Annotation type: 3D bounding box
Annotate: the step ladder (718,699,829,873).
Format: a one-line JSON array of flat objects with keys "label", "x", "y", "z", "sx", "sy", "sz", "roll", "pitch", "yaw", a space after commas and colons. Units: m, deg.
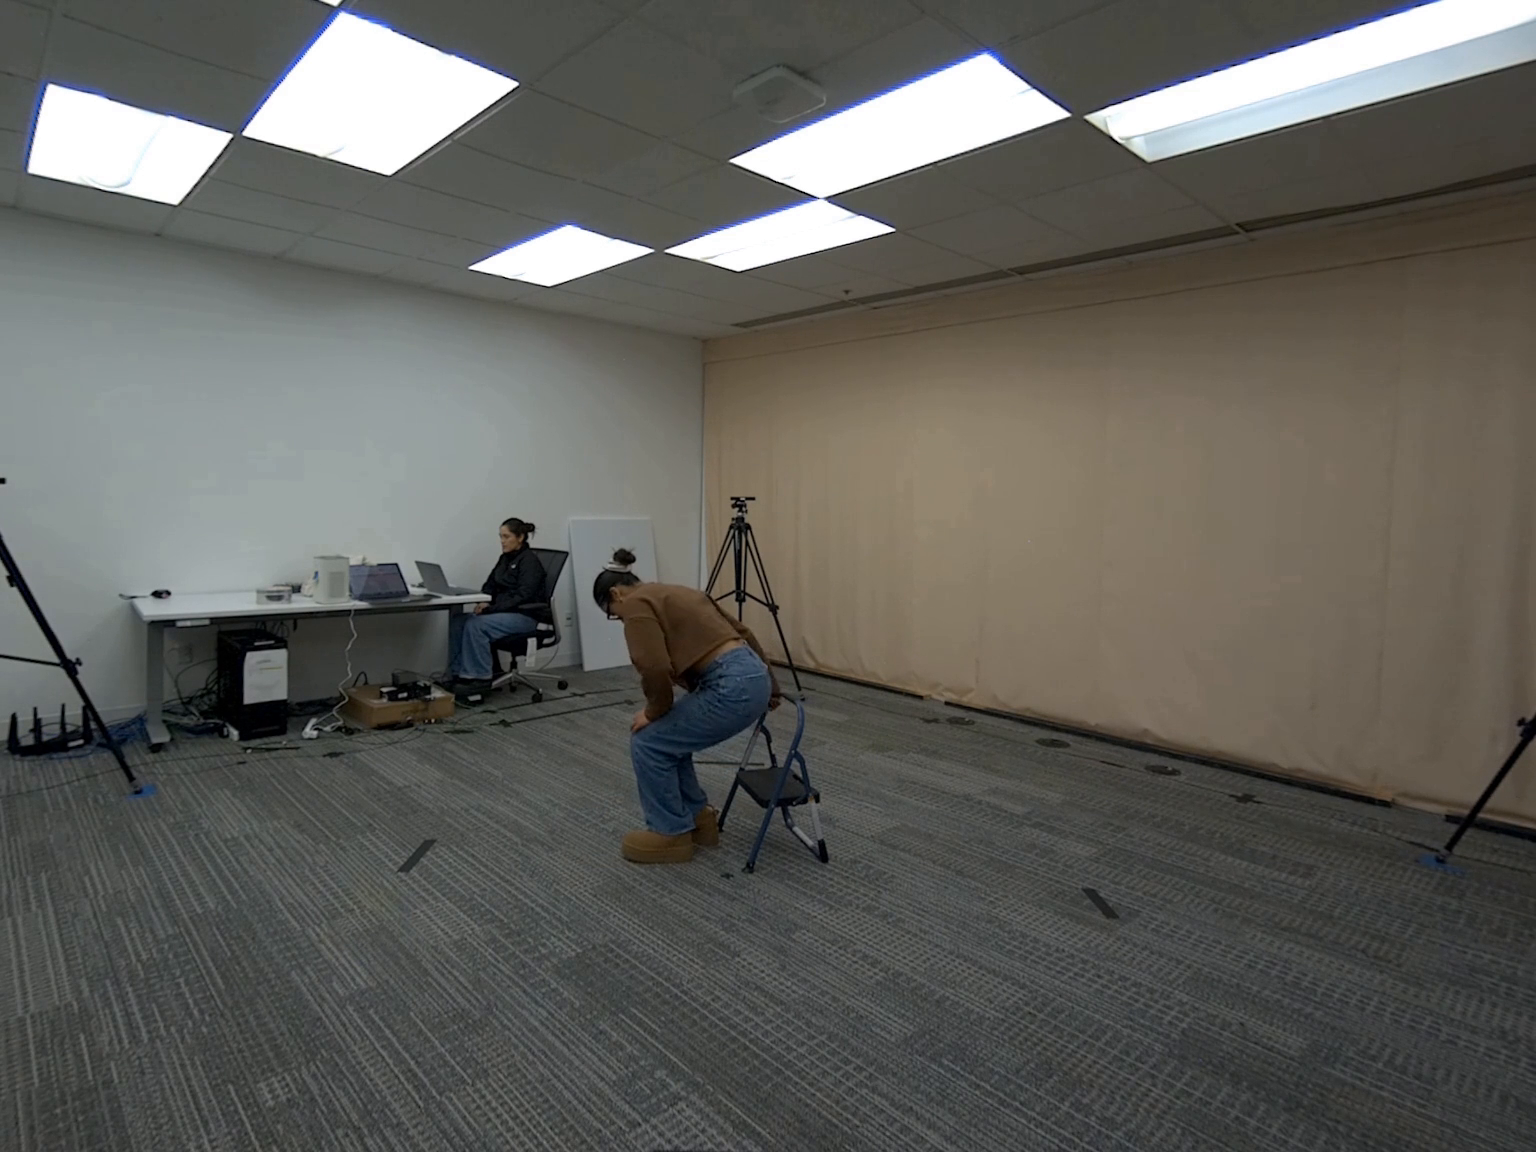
[{"label": "step ladder", "x": 0.002, "y": 0.788, "z": 3.364, "sx": 0.344, "sy": 0.604, "sz": 0.438, "roll": 0, "pitch": 4, "yaw": -20}]
